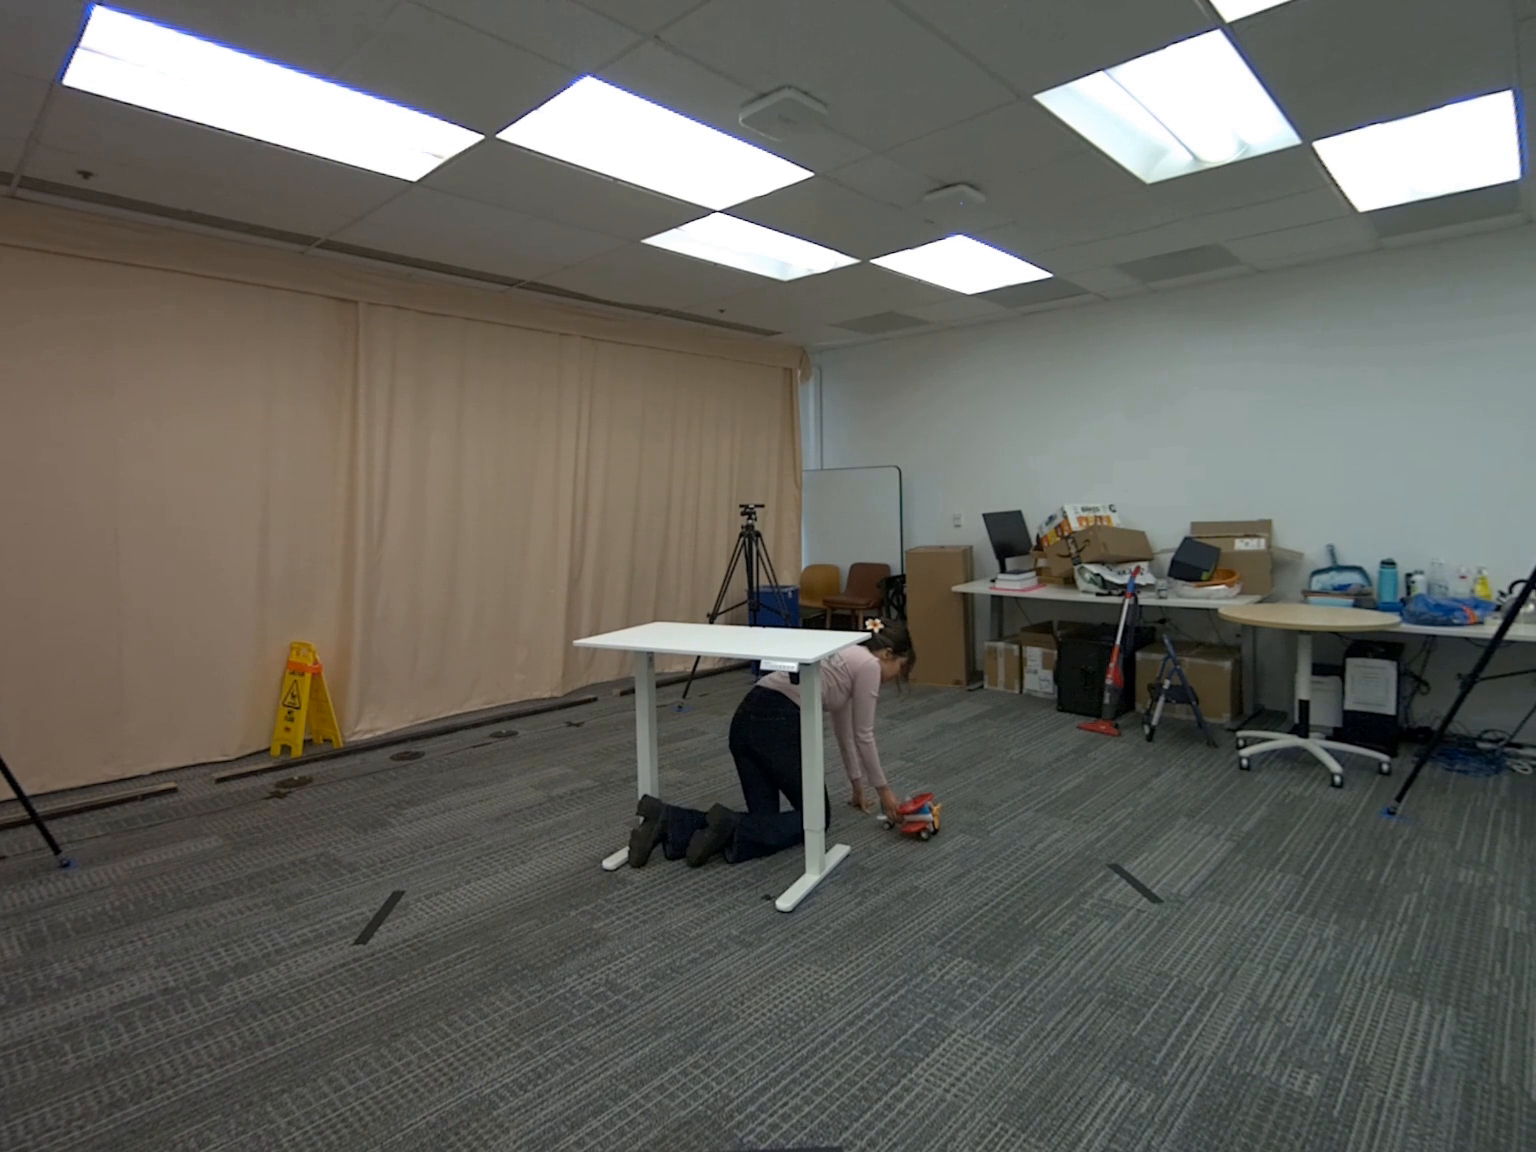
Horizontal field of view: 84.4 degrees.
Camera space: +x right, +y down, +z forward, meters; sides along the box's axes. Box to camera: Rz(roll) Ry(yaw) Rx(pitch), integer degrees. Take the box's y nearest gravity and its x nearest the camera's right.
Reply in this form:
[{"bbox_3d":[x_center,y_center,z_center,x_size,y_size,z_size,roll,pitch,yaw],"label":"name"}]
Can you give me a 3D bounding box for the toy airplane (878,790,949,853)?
[{"bbox_3d":[0.595,1.011,3.517,0.261,0.156,0.250,1,4,7],"label":"toy airplane"}]
